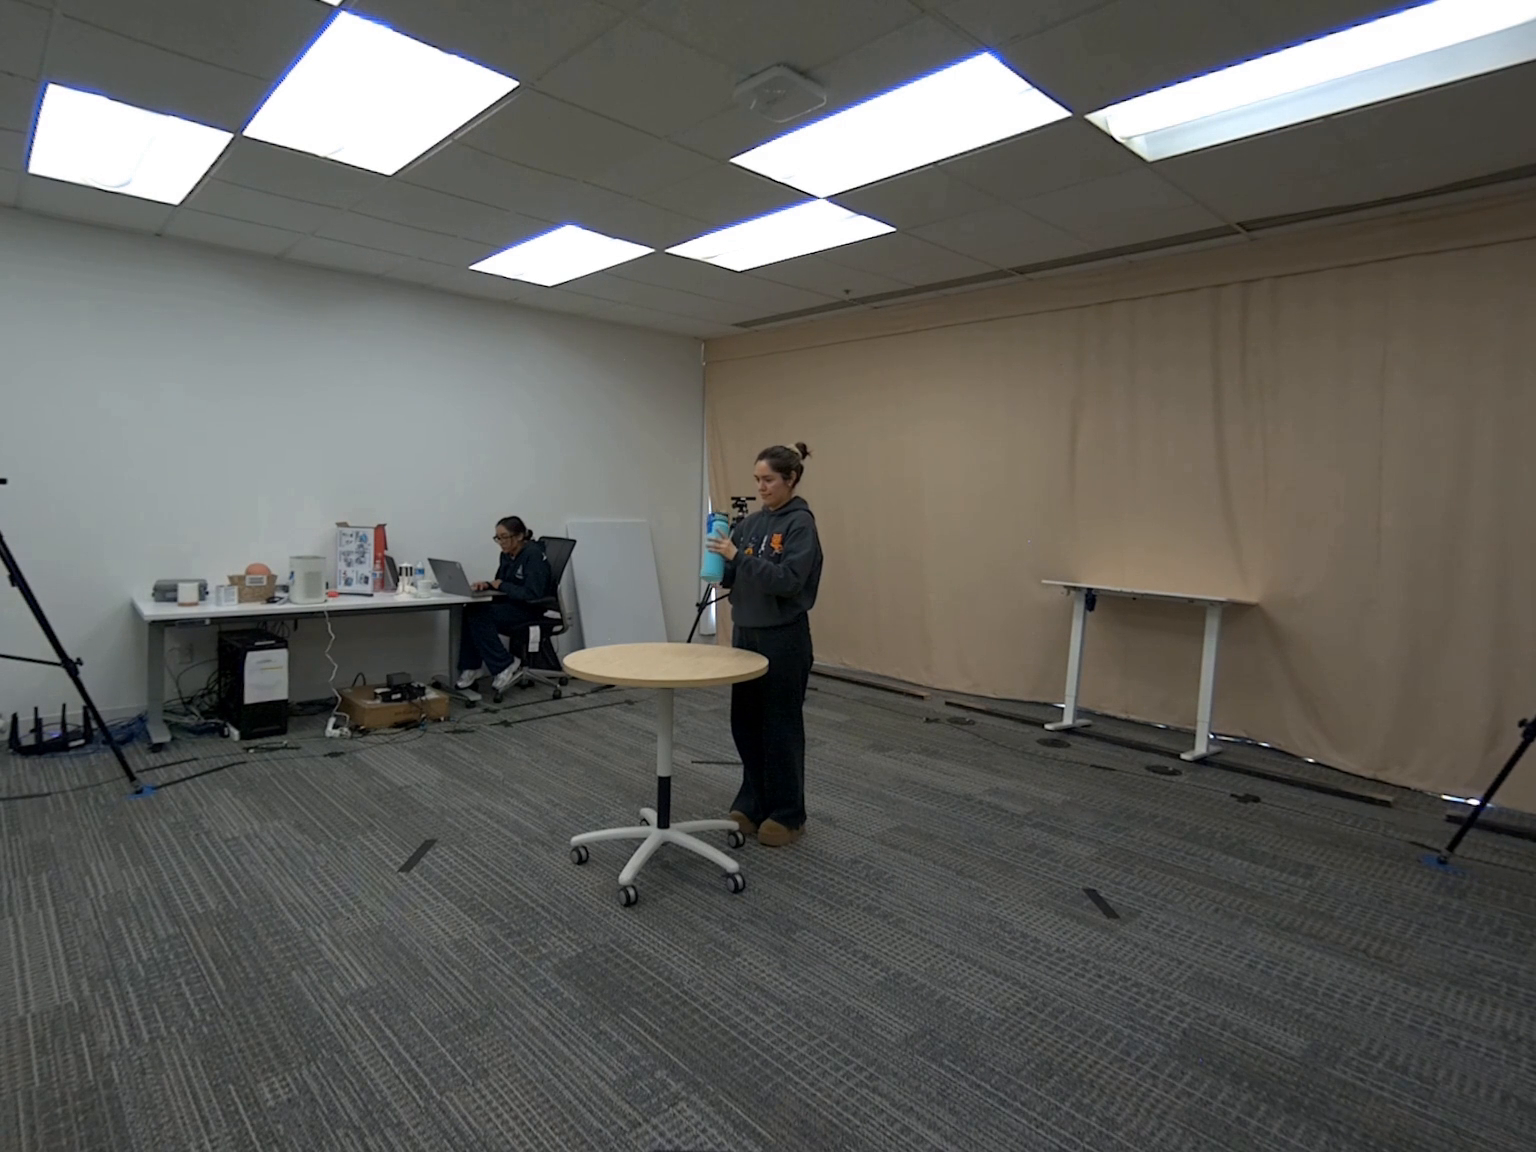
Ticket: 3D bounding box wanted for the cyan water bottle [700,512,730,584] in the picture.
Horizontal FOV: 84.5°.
[{"bbox_3d":[-0.211,-0.120,3.314,0.092,0.286,0.091,2,-12,-1],"label":"cyan water bottle"}]
